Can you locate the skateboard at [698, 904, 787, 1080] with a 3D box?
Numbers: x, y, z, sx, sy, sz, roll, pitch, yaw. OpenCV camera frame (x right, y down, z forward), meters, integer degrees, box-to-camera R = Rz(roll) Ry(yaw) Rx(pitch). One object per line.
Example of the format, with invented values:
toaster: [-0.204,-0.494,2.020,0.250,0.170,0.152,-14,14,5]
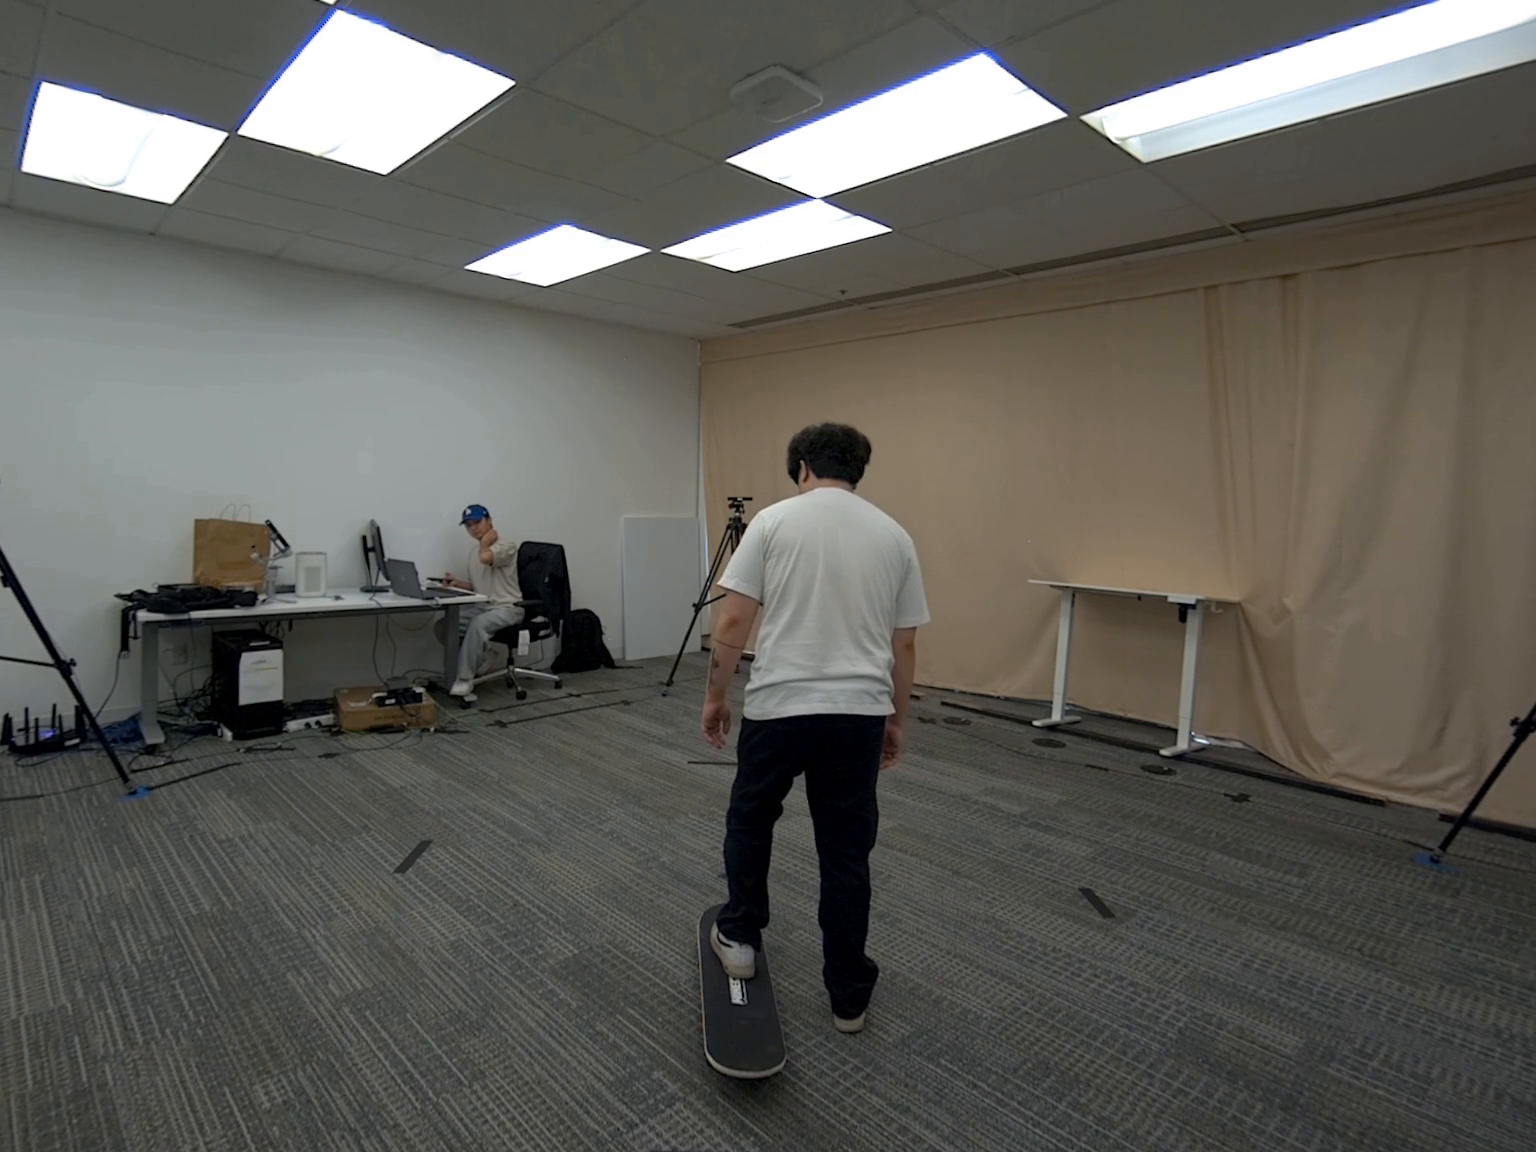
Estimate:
skateboard: [-0.087,1.125,2.284,0.192,0.110,0.791,2,5,-7]
